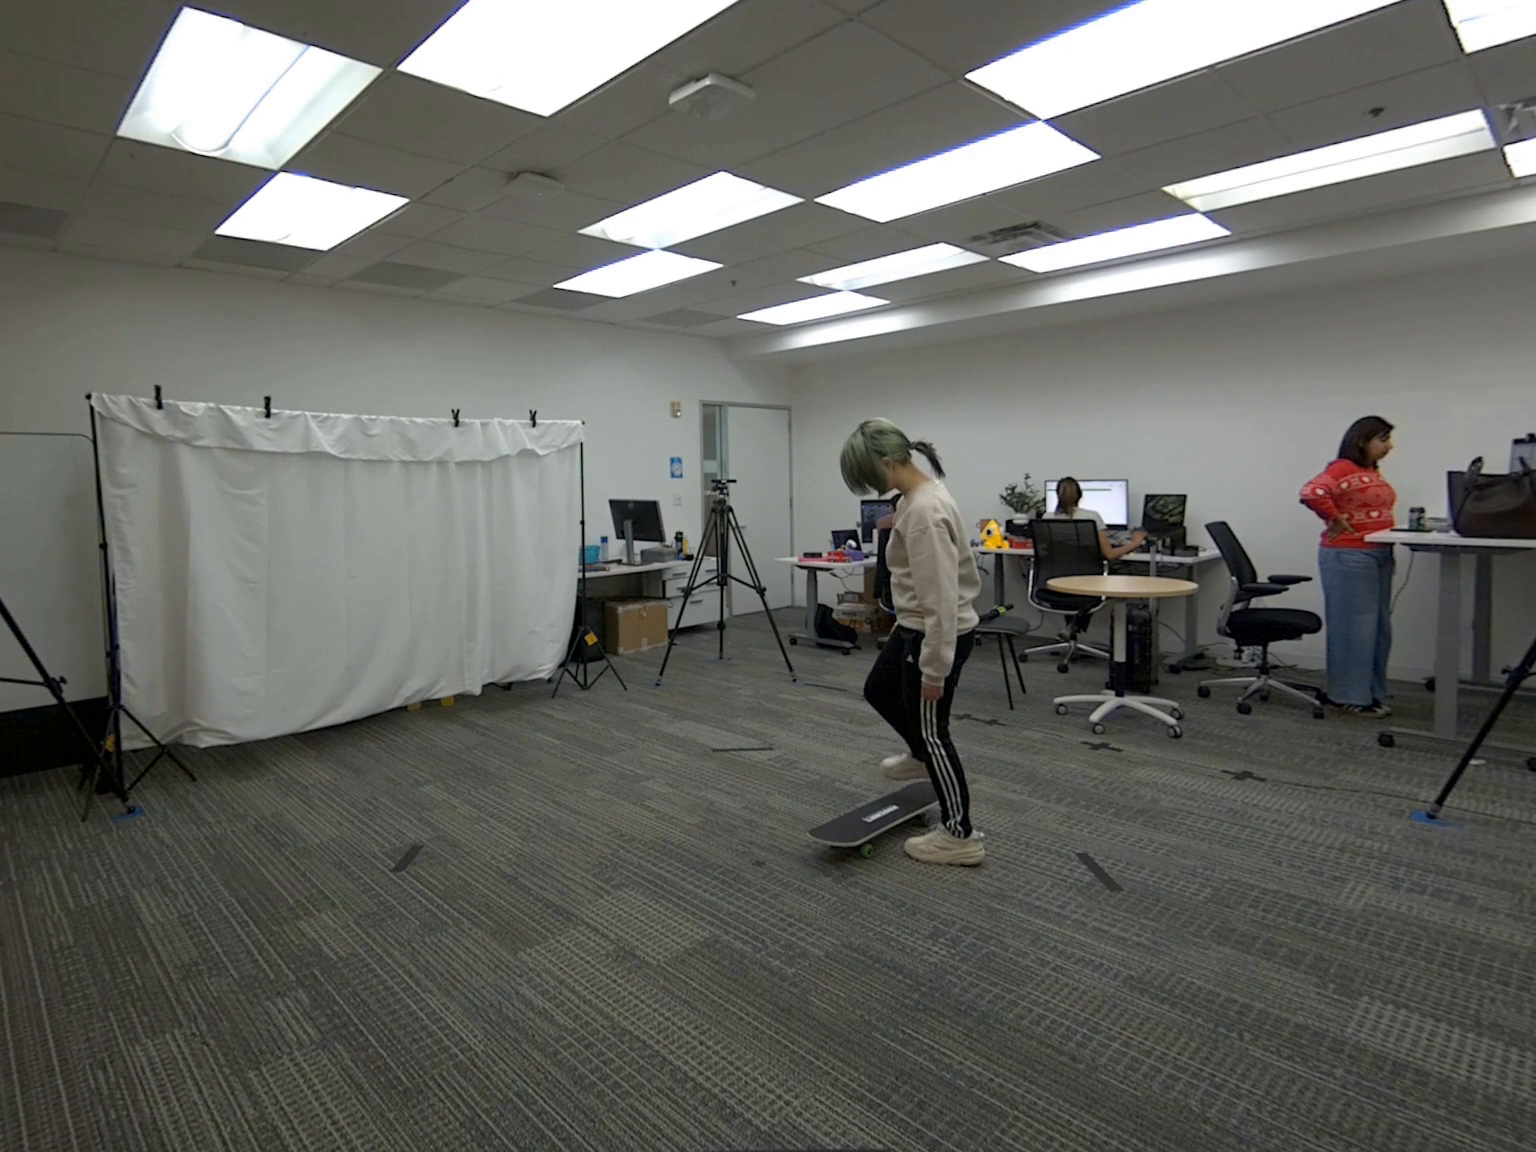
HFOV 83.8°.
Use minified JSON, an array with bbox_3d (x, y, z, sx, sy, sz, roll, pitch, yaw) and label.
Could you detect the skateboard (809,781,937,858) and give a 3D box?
[{"bbox_3d":[0.437,0.954,3.336,0.199,0.110,0.765,3,7,43],"label":"skateboard"}]
